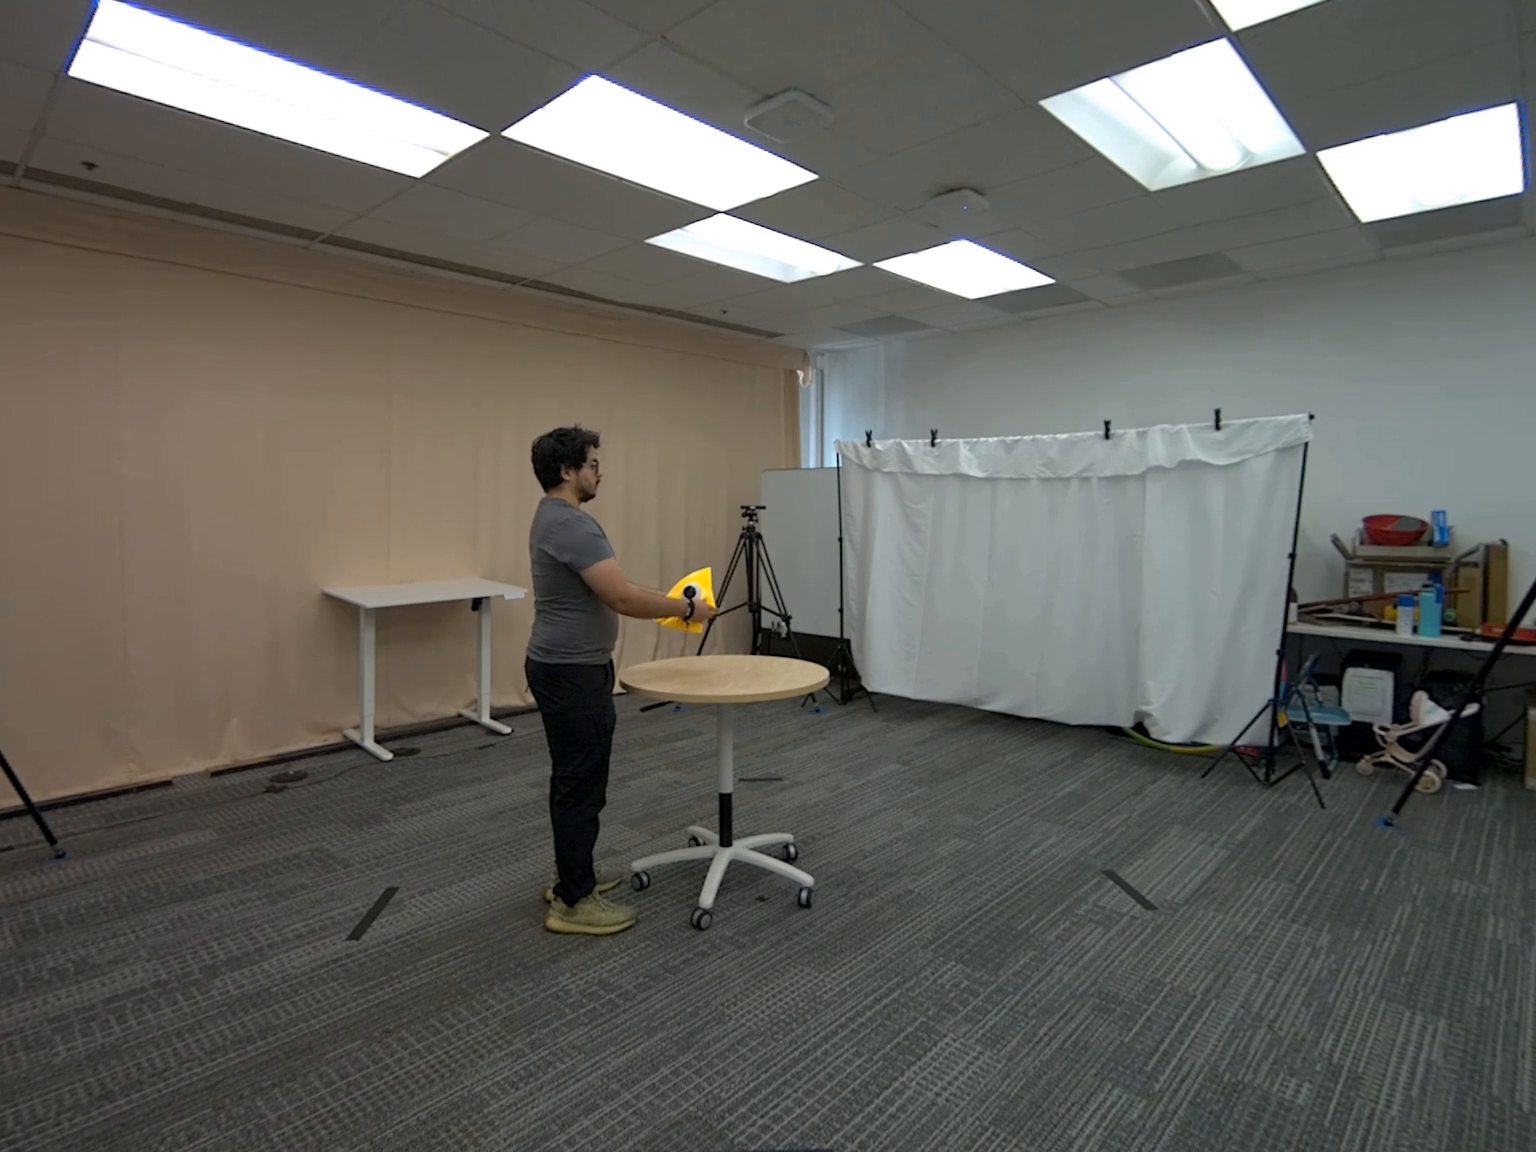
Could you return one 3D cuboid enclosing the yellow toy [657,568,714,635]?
[{"bbox_3d":[-0.285,0.073,3.002,0.189,0.231,0.209,12,0,-18],"label":"yellow toy"}]
